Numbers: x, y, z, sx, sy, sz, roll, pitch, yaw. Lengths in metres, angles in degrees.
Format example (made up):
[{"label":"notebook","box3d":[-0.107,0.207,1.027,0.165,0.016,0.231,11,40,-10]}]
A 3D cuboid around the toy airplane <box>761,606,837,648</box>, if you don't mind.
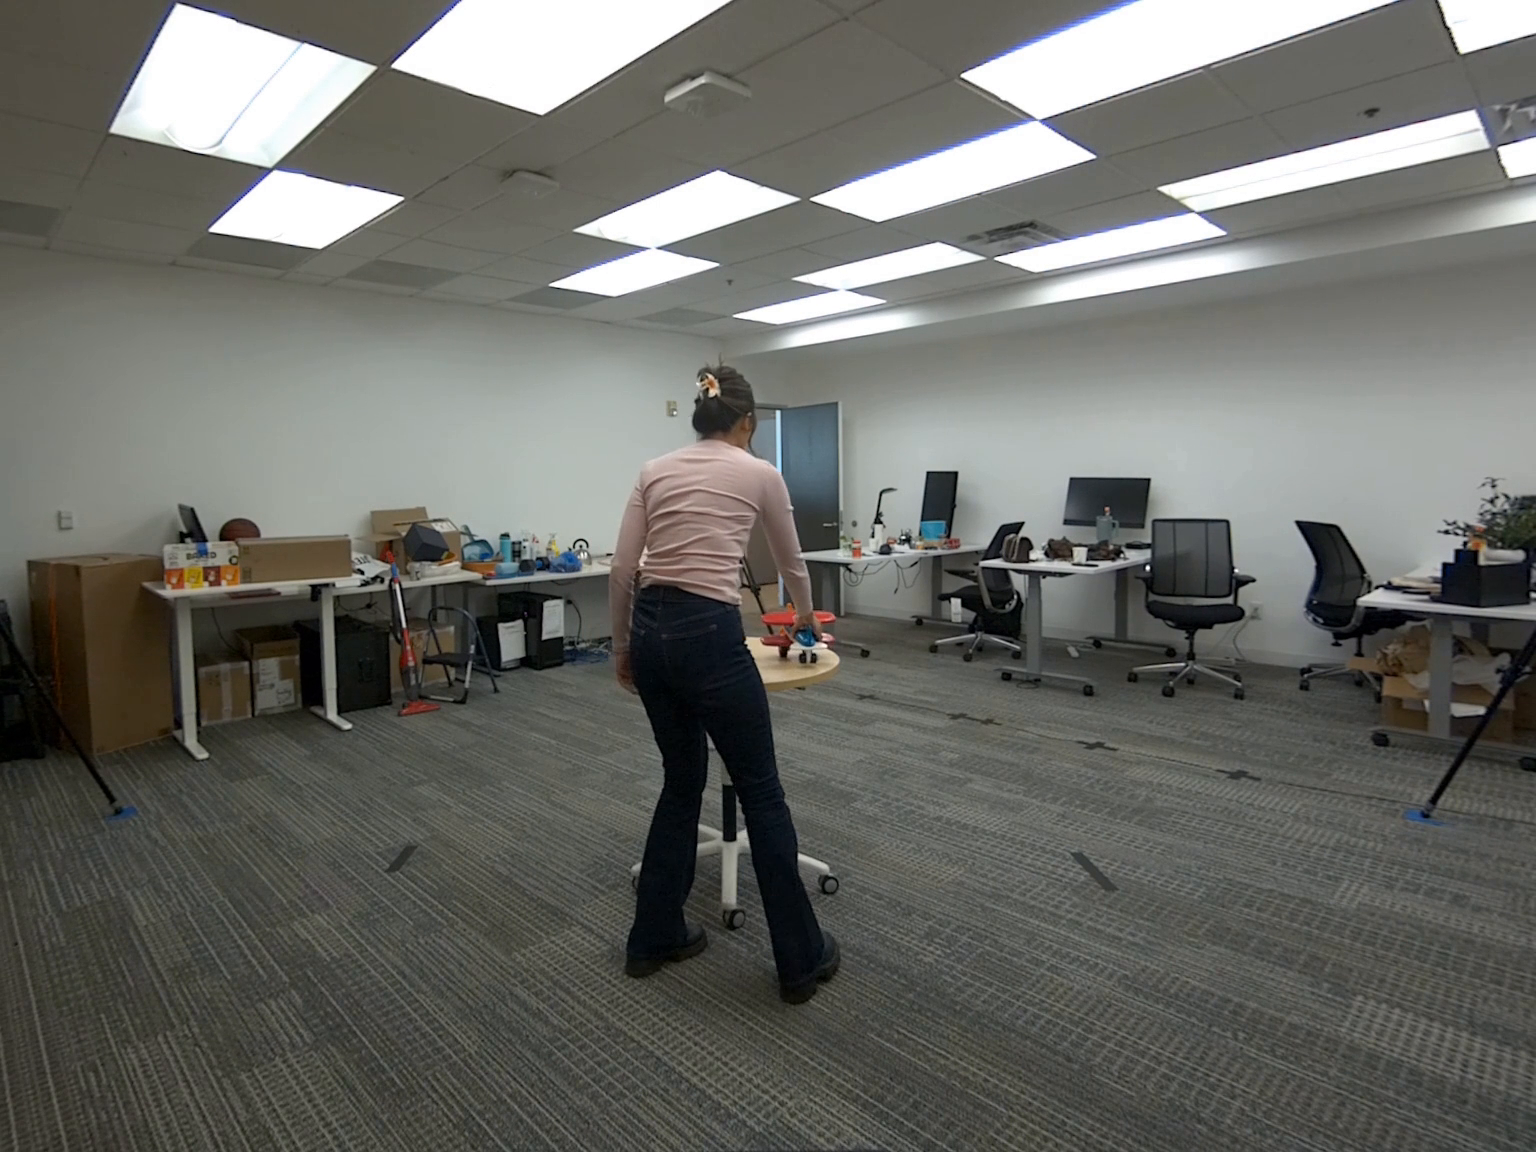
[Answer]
[{"label":"toy airplane","box3d":[0.128,0.202,2.878,0.244,0.156,0.266,-2,1,-37]}]
